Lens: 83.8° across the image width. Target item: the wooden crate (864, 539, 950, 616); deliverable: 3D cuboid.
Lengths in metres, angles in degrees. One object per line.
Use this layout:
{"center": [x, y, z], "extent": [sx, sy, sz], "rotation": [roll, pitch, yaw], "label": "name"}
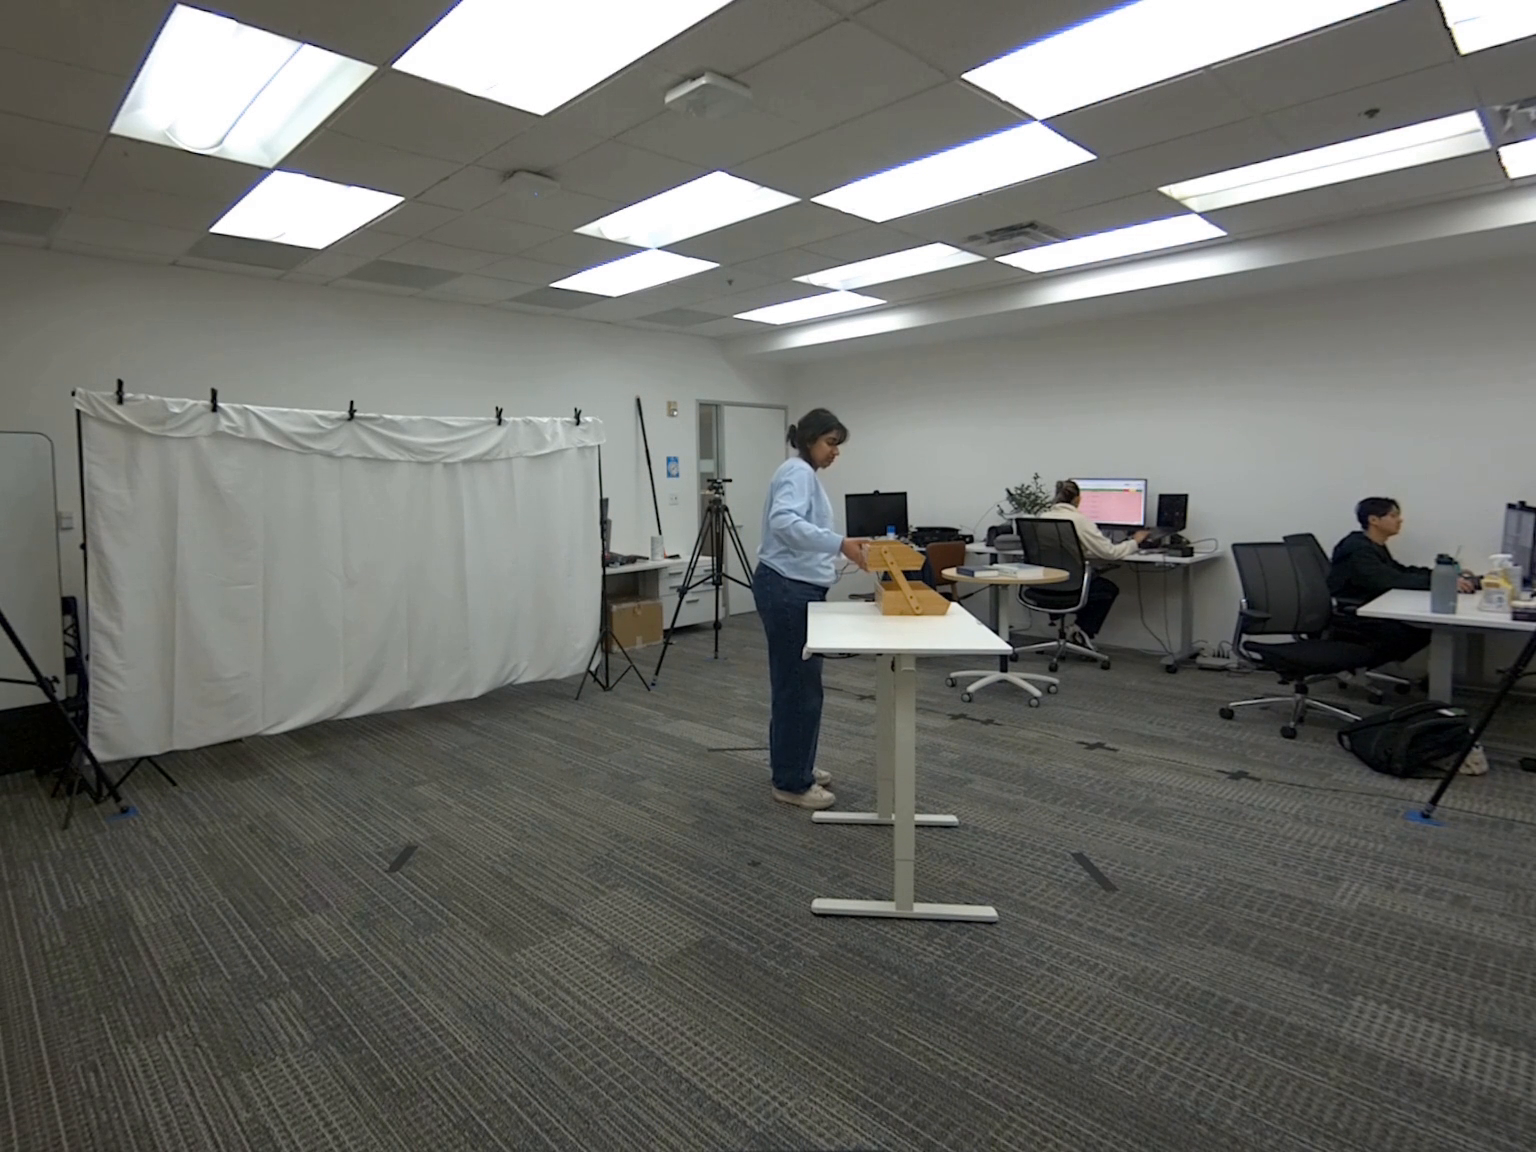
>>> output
{"center": [0.529, -0.004, 3.318], "extent": [0.302, 0.272, 0.326], "rotation": [-2, 5, -1], "label": "wooden crate"}
